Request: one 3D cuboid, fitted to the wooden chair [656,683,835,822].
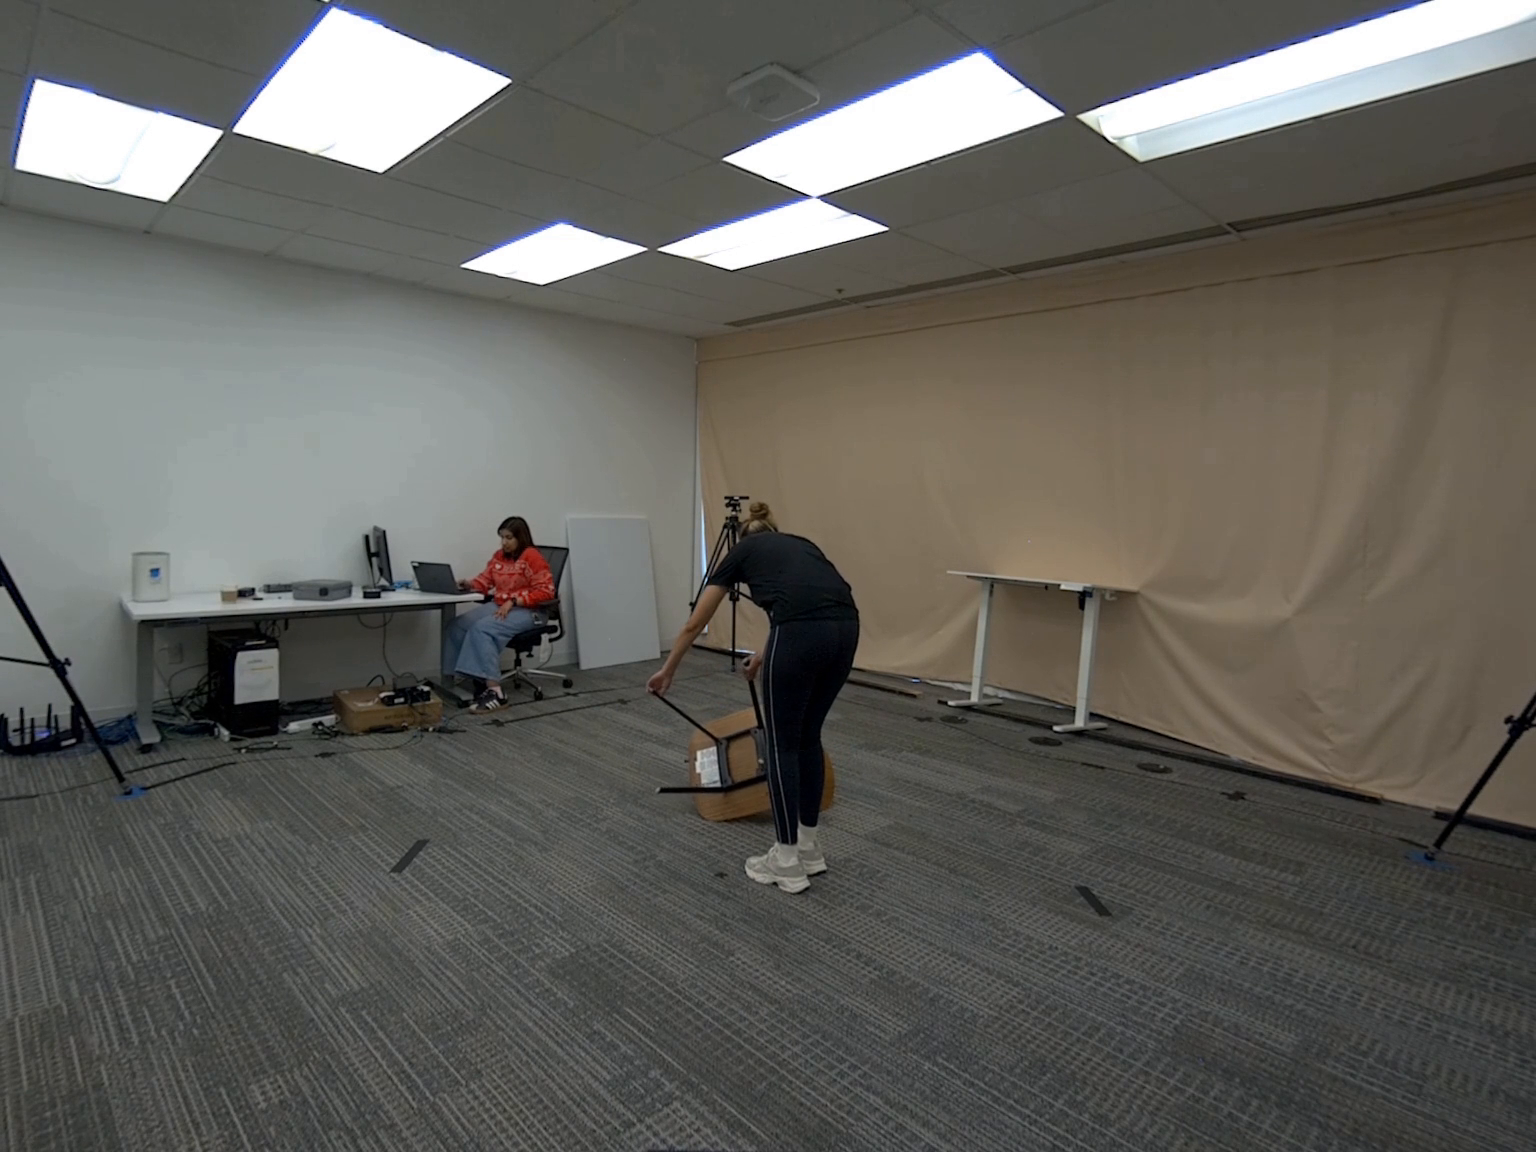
[{"bbox_3d":[-0.119,0.794,3.685,0.527,0.490,0.849,-22,-36,17],"label":"wooden chair"}]
